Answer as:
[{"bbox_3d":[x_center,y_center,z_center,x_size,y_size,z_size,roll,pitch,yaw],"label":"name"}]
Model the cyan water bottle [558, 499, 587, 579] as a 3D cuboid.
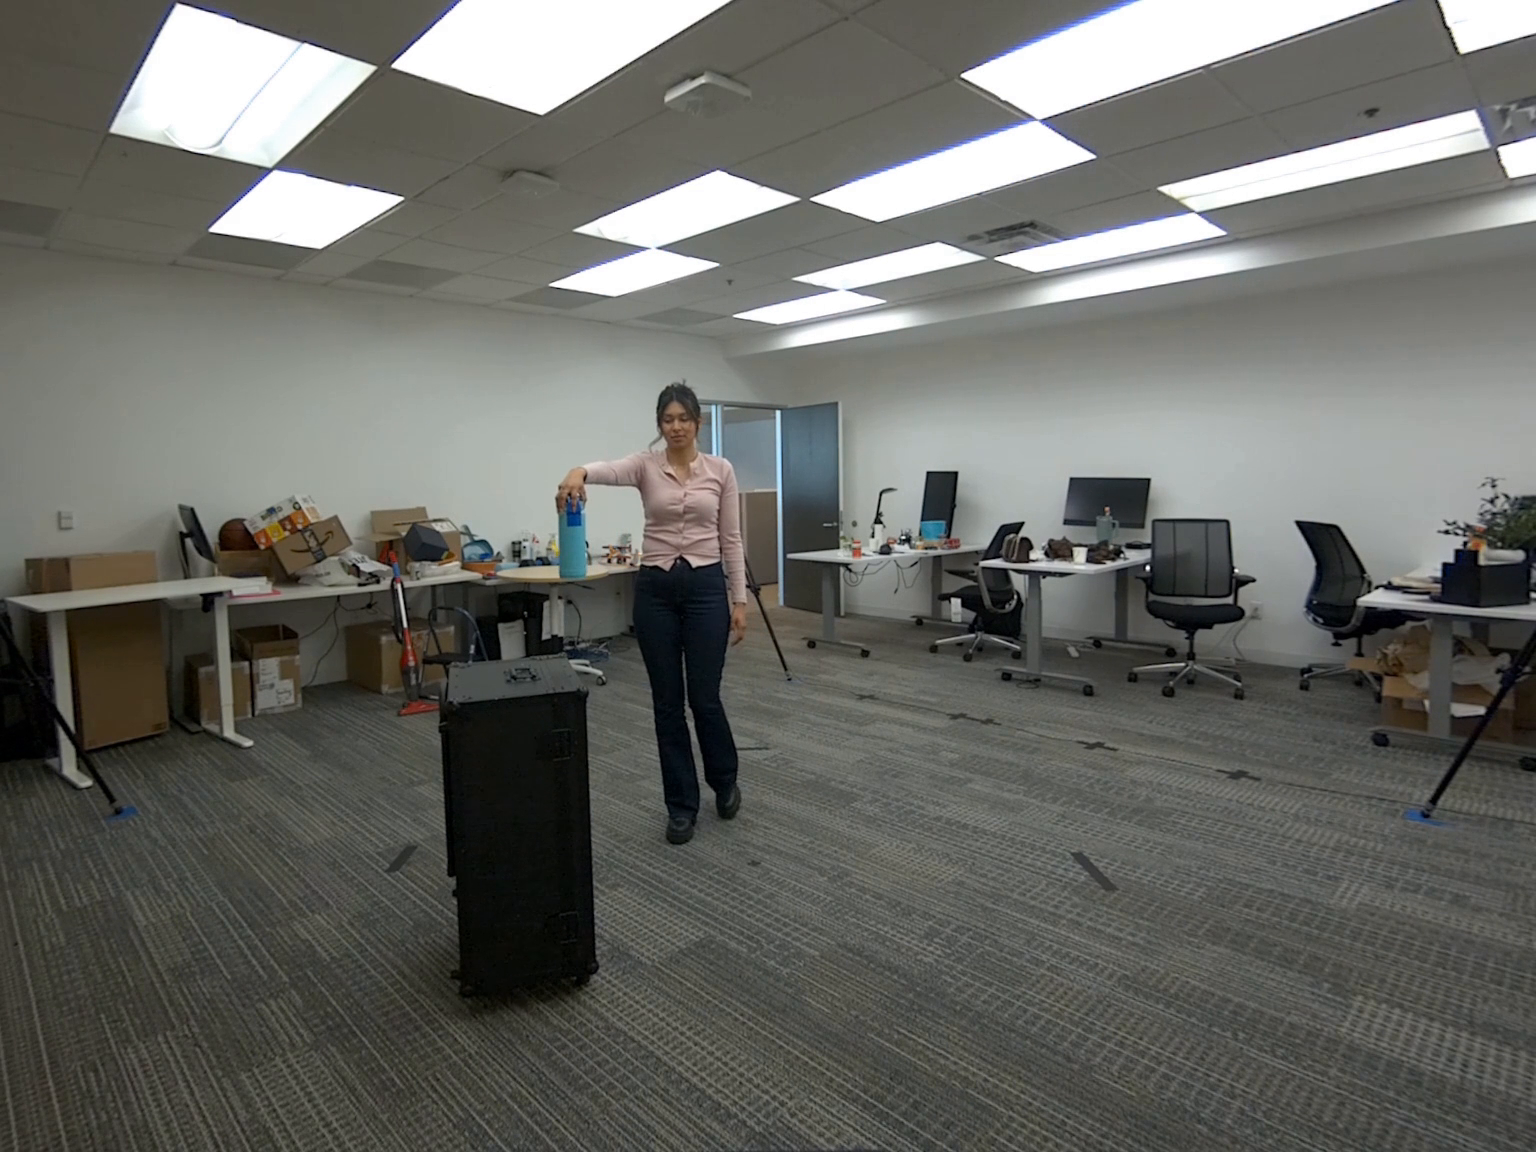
[{"bbox_3d":[-0.647,-0.133,2.832,0.092,0.282,0.093,0,6,-2],"label":"cyan water bottle"}]
